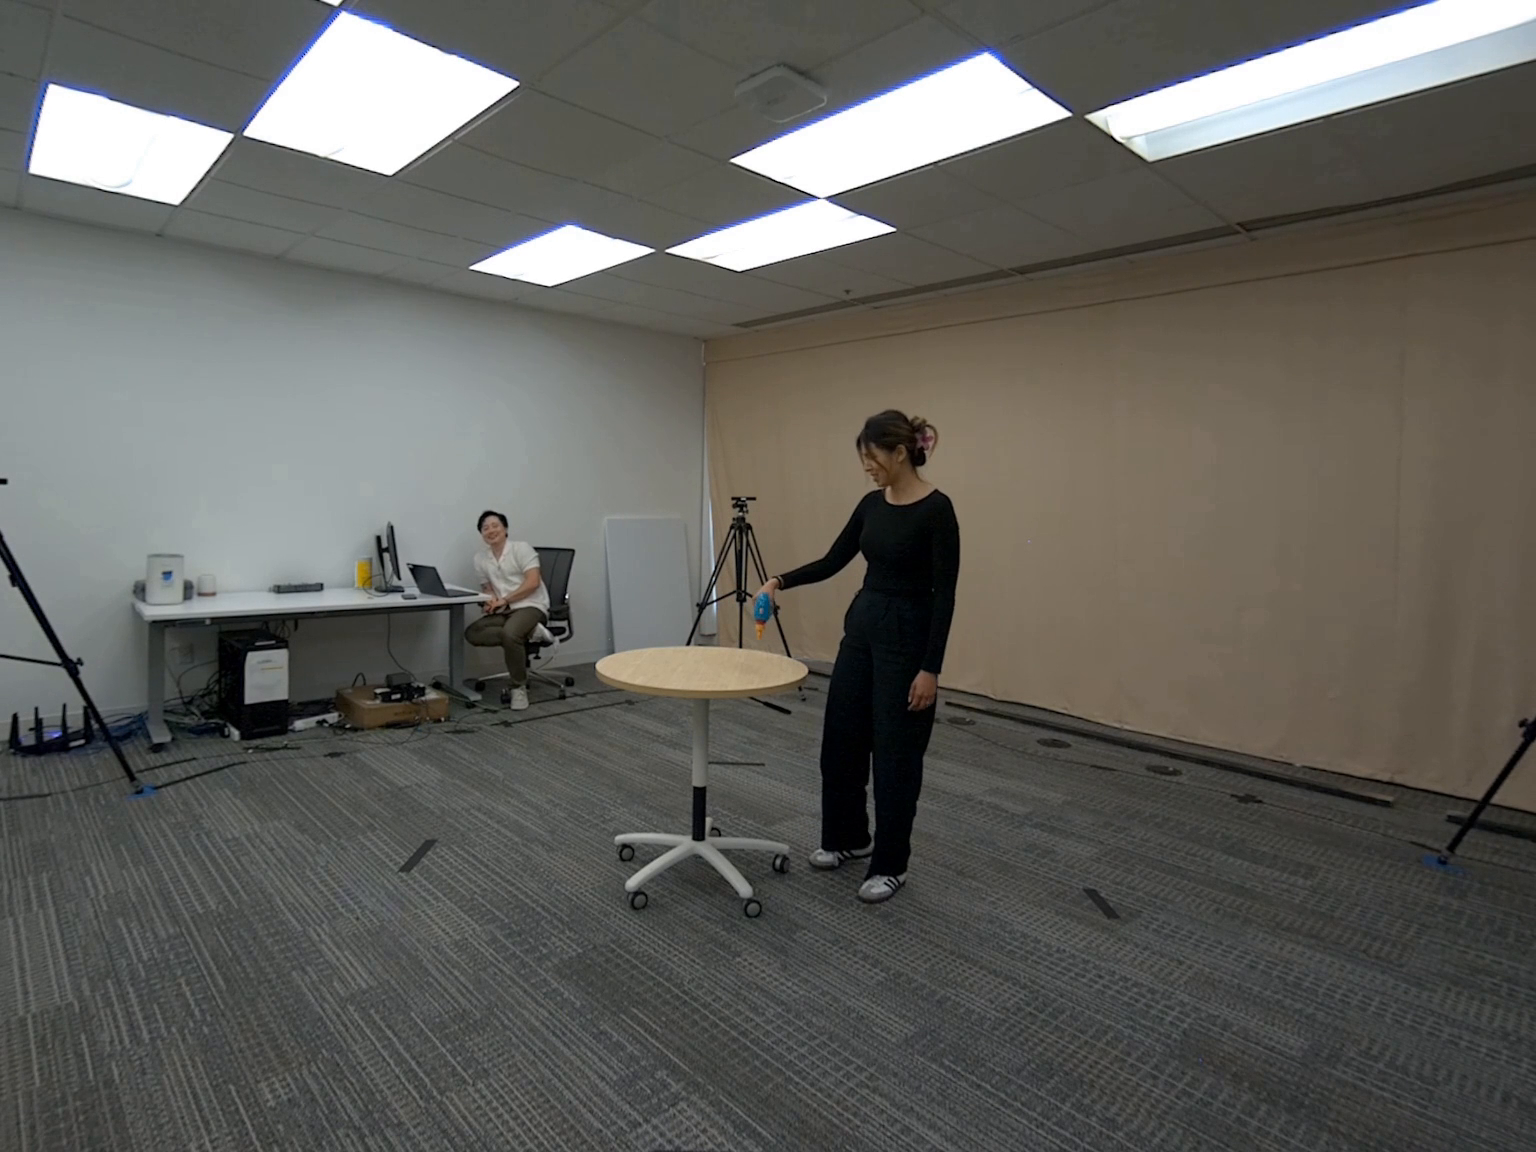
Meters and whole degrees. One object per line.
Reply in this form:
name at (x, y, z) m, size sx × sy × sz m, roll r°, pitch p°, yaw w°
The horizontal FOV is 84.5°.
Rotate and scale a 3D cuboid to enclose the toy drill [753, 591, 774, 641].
toy drill at (-0.025, 0.149, 3.034) m, size 0.061 × 0.170 × 0.144 m, roll 6°, pitch -4°, yaw 7°
